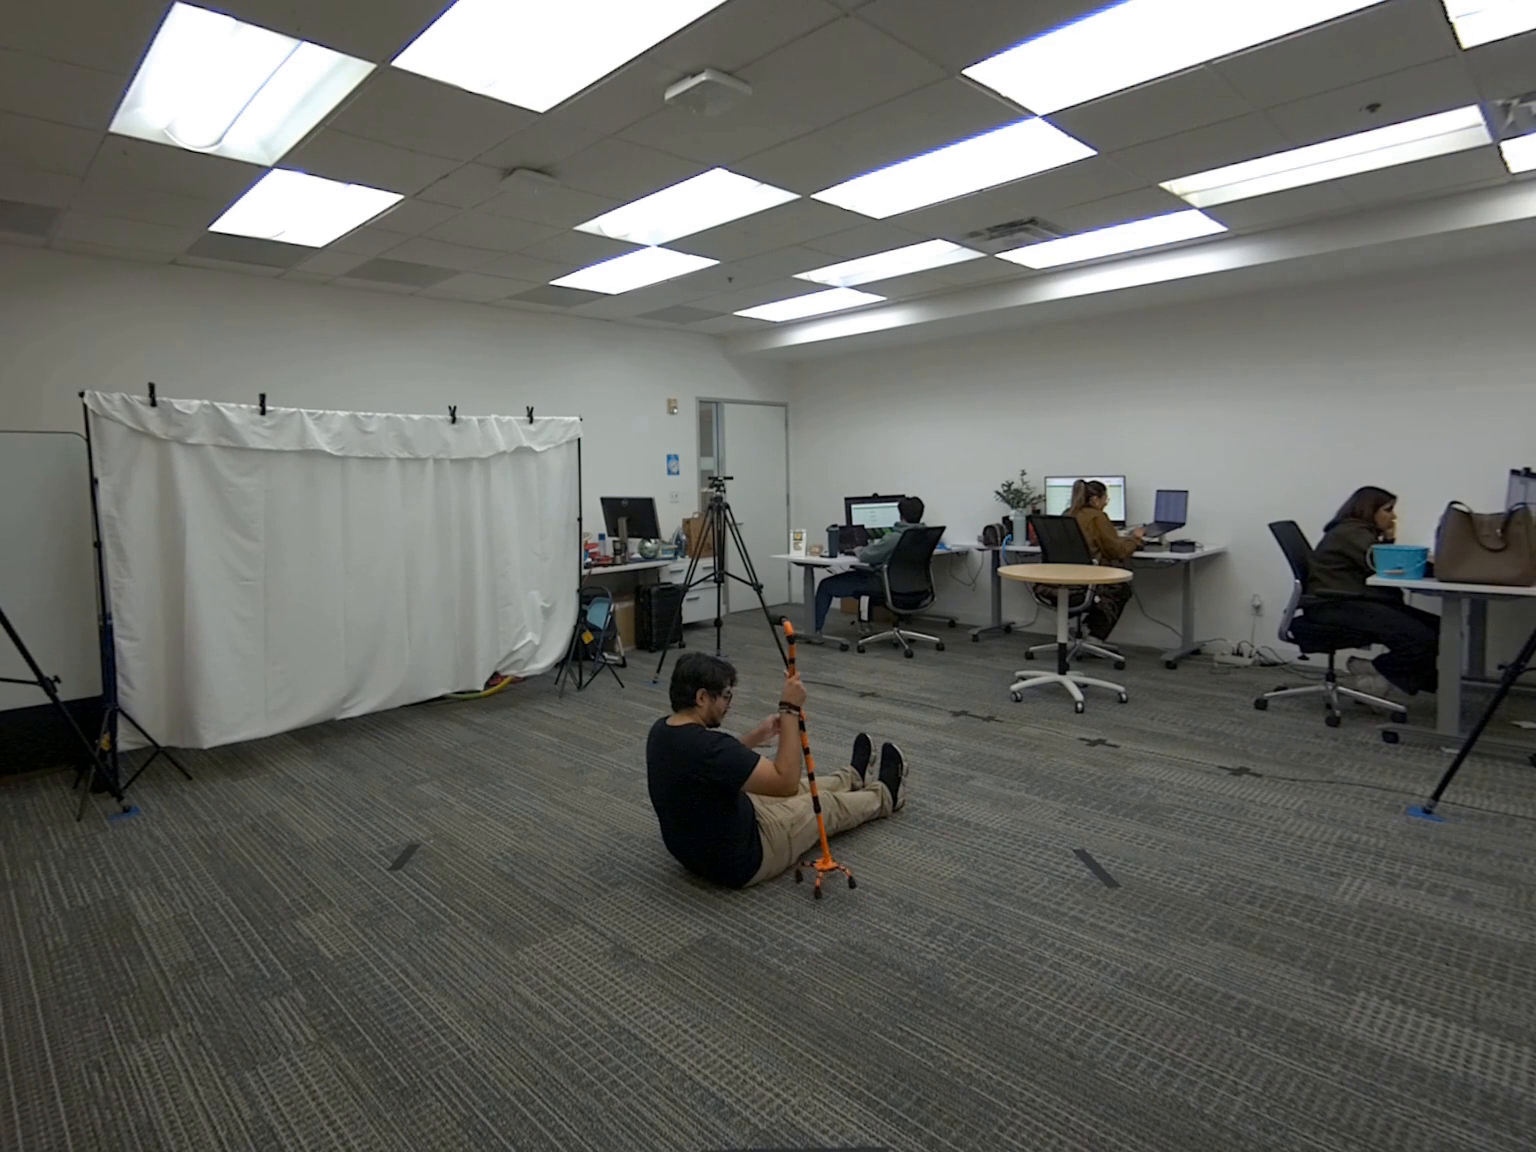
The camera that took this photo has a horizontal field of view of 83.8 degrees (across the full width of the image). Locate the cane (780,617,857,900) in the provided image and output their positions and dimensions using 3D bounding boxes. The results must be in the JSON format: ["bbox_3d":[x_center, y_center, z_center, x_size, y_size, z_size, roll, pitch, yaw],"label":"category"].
[{"bbox_3d":[0.115,0.587,2.886,0.150,0.908,0.209,-11,0,-15],"label":"cane"}]
